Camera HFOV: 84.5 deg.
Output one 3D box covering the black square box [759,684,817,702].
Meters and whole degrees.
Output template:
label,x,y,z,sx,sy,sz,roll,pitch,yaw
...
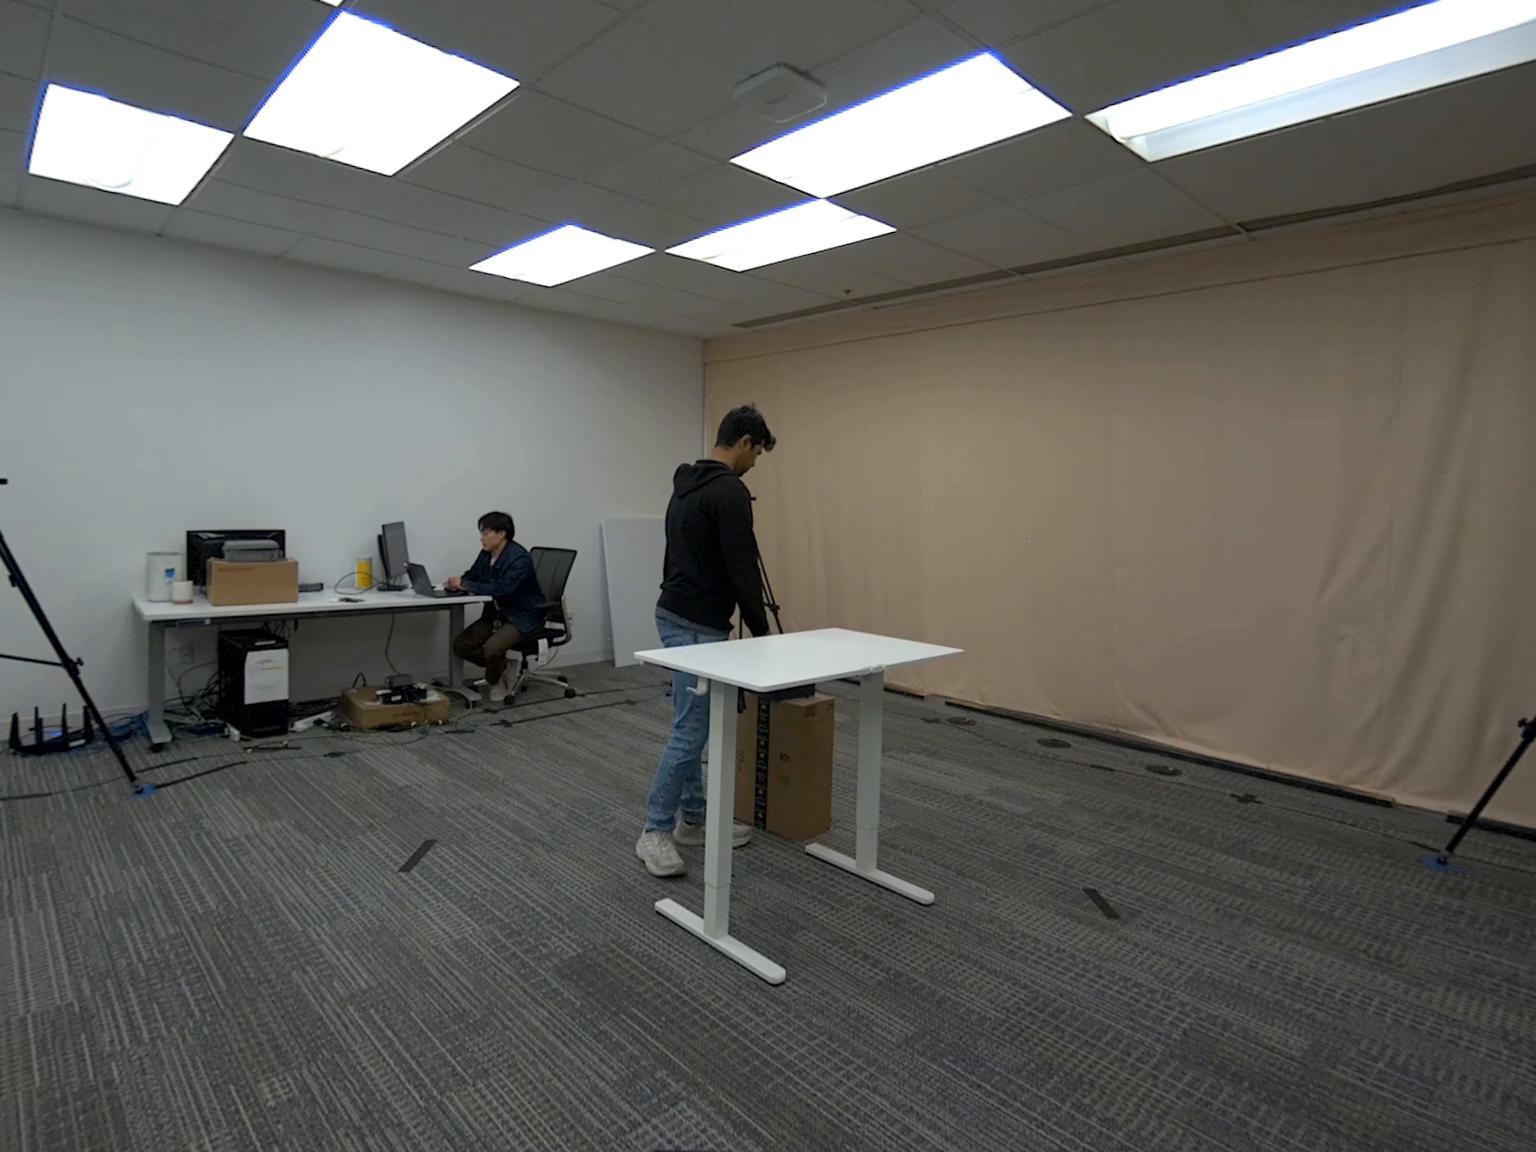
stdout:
label,x,y,z,sx,sy,sz,roll,pitch,yaw
black square box,0.043,0.424,3.606,0.212,0.155,0.234,-2,6,-37
